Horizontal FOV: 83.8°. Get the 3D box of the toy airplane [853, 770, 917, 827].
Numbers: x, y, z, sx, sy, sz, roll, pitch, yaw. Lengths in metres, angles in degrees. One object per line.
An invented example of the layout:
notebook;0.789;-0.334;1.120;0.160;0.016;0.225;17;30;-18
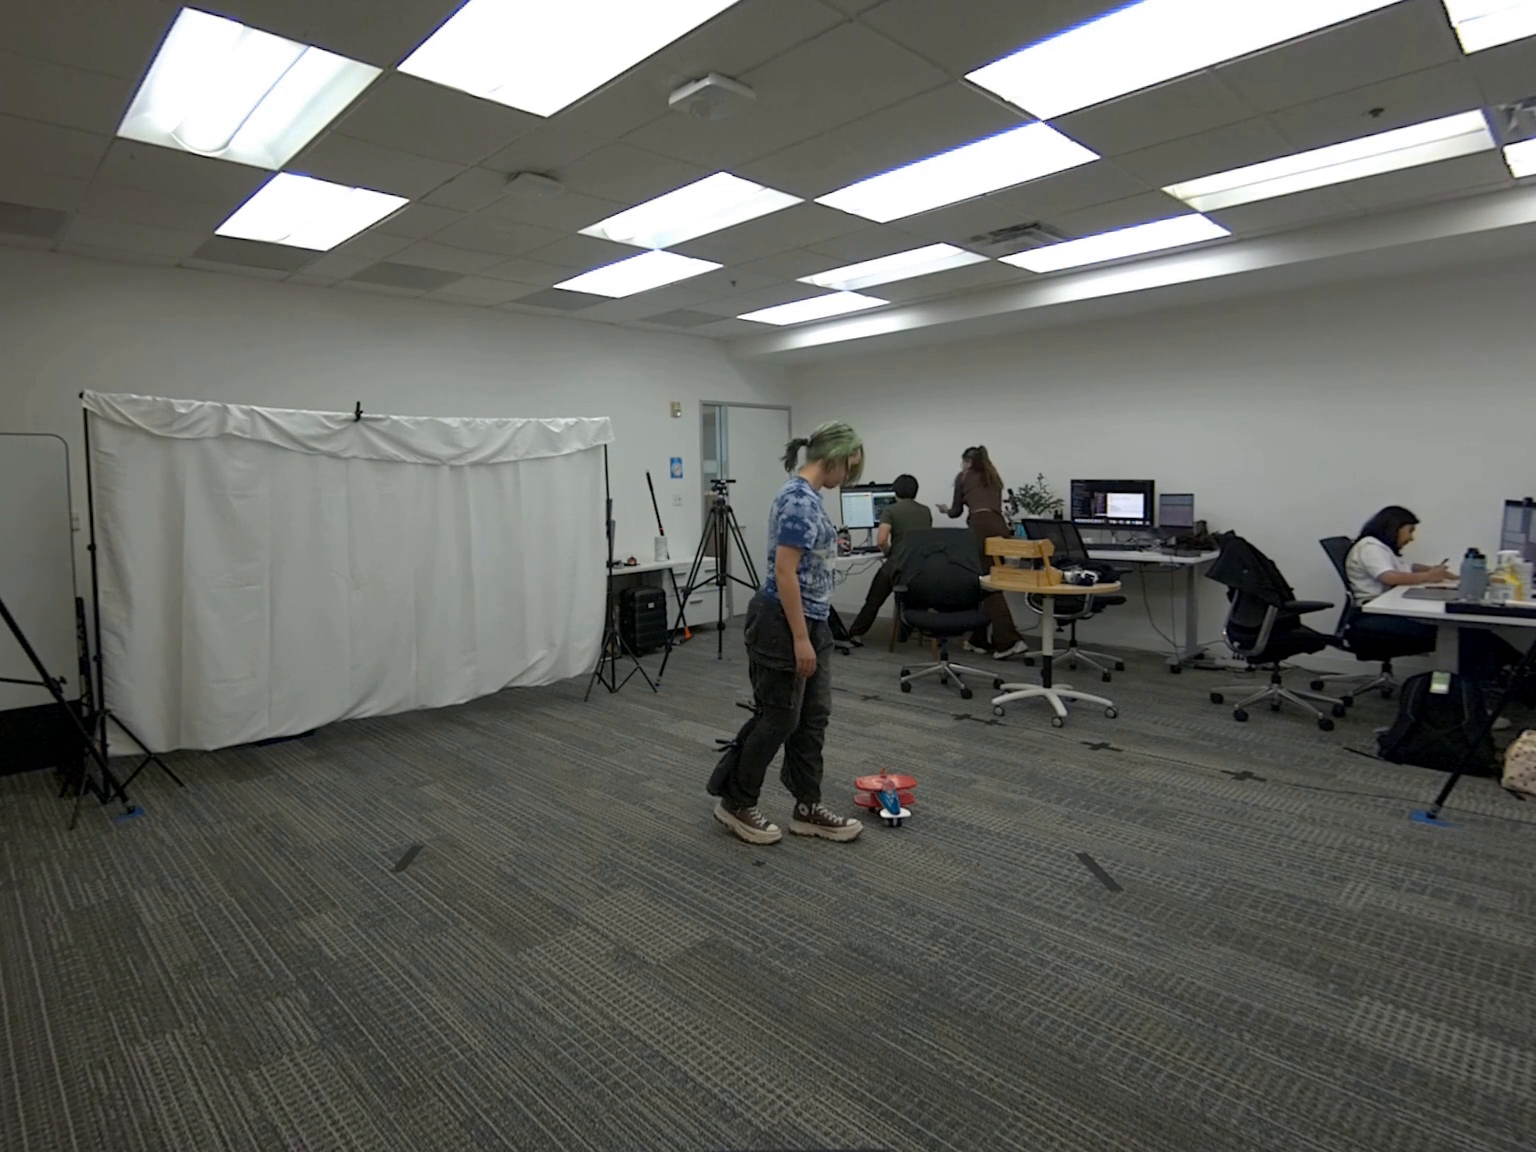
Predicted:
toy airplane;0.508;0.919;3.514;0.245;0.156;0.267;-3;5;-34
